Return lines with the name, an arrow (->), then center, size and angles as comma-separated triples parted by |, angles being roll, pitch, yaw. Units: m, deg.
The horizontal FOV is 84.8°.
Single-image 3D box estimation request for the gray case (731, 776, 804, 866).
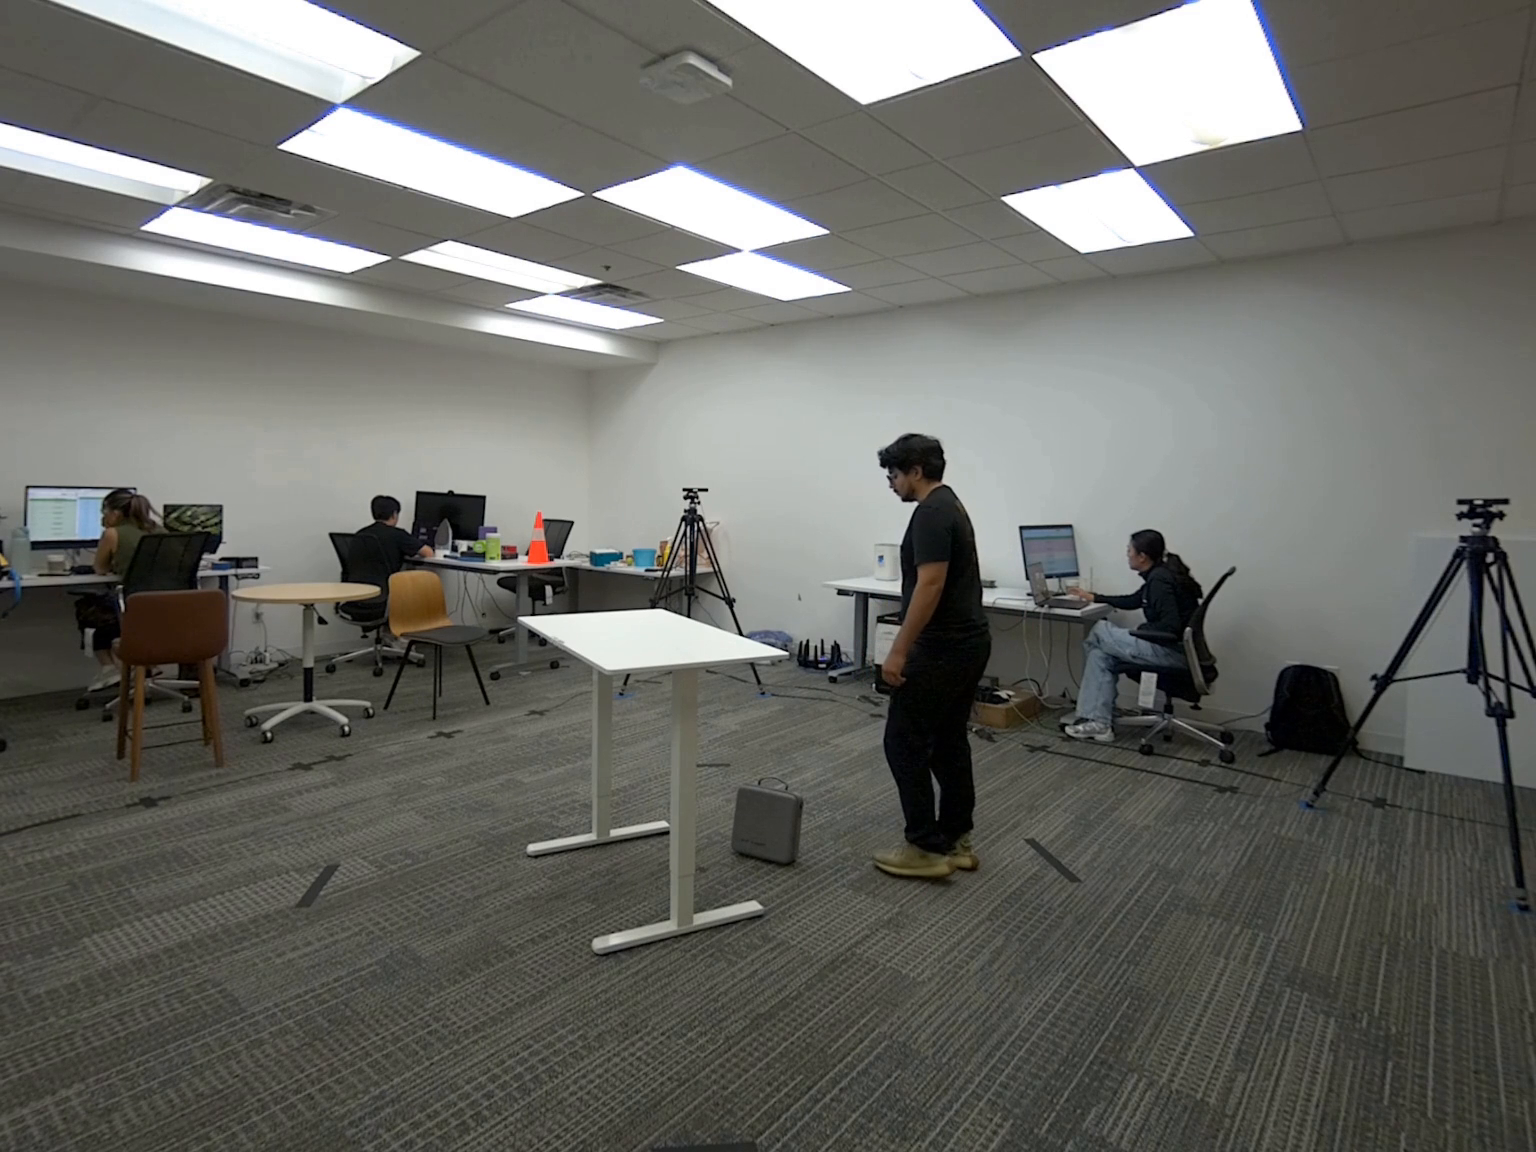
gray case -> -0.013, 0.933, 3.247 | 0.264, 0.262, 0.101 | 3, -7, 29
